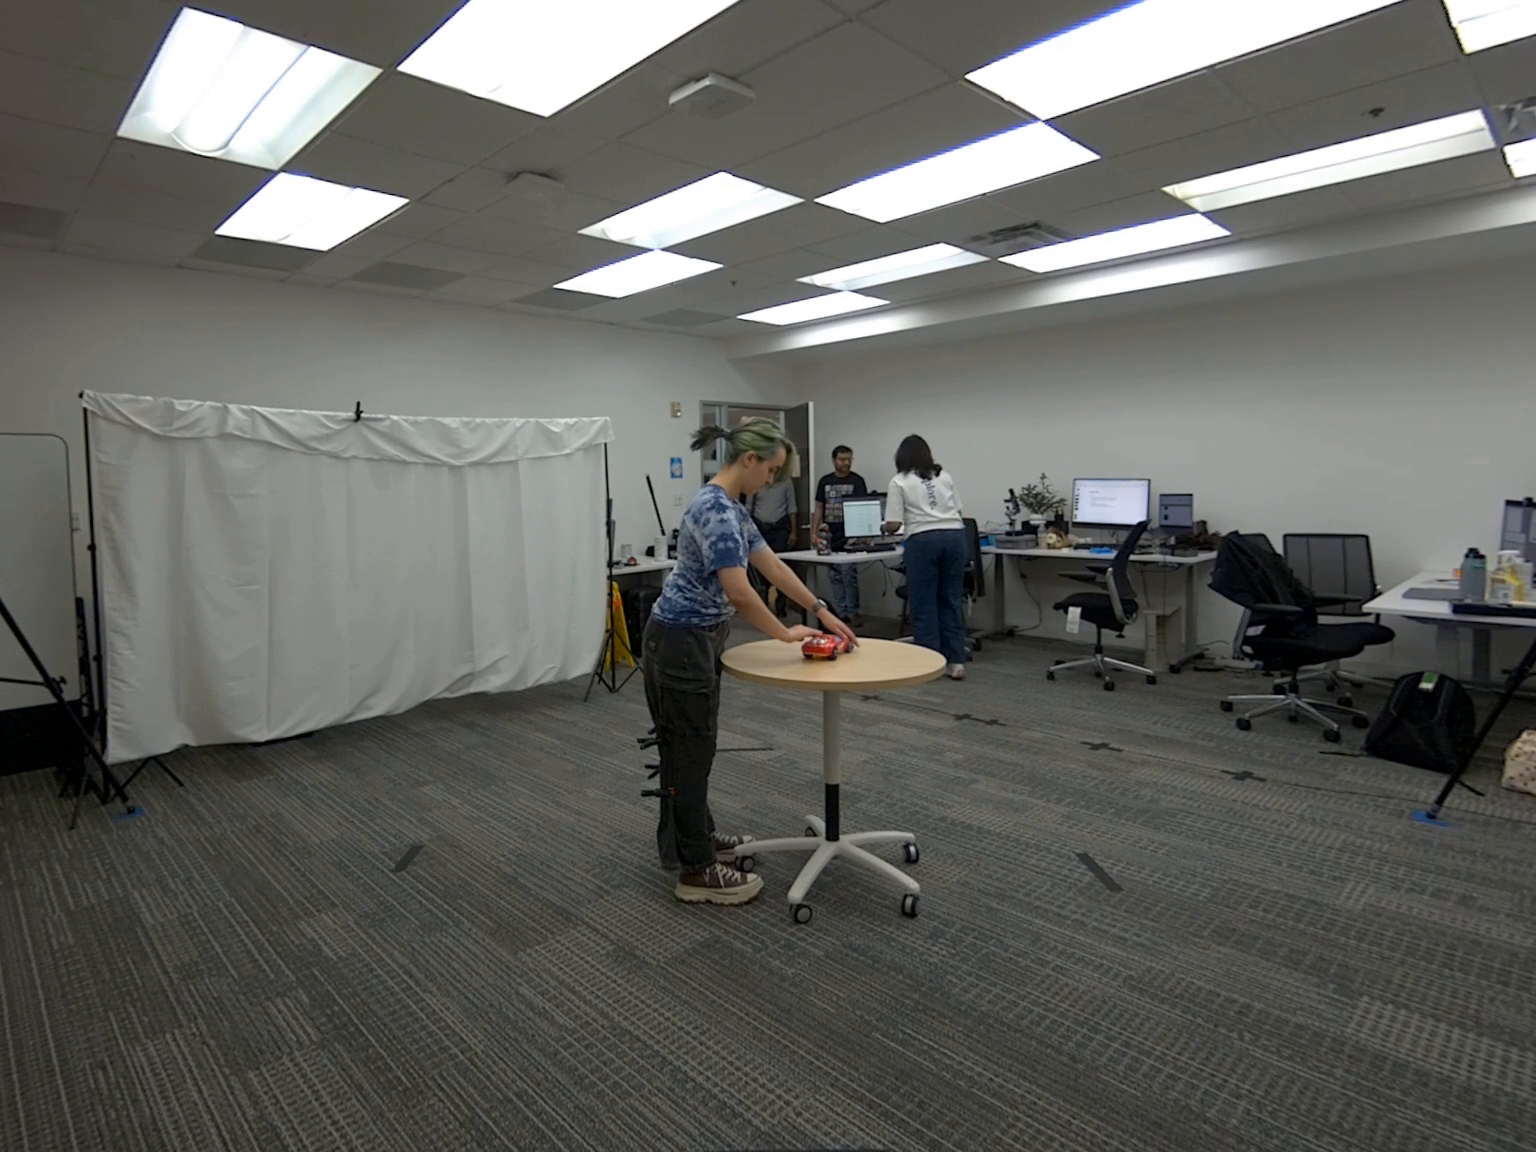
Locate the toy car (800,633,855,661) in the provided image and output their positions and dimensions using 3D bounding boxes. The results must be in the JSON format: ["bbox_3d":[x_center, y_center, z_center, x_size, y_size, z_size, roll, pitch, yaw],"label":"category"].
[{"bbox_3d":[0.199,0.246,2.943,0.133,0.083,0.247,4,-4,26],"label":"toy car"}]
